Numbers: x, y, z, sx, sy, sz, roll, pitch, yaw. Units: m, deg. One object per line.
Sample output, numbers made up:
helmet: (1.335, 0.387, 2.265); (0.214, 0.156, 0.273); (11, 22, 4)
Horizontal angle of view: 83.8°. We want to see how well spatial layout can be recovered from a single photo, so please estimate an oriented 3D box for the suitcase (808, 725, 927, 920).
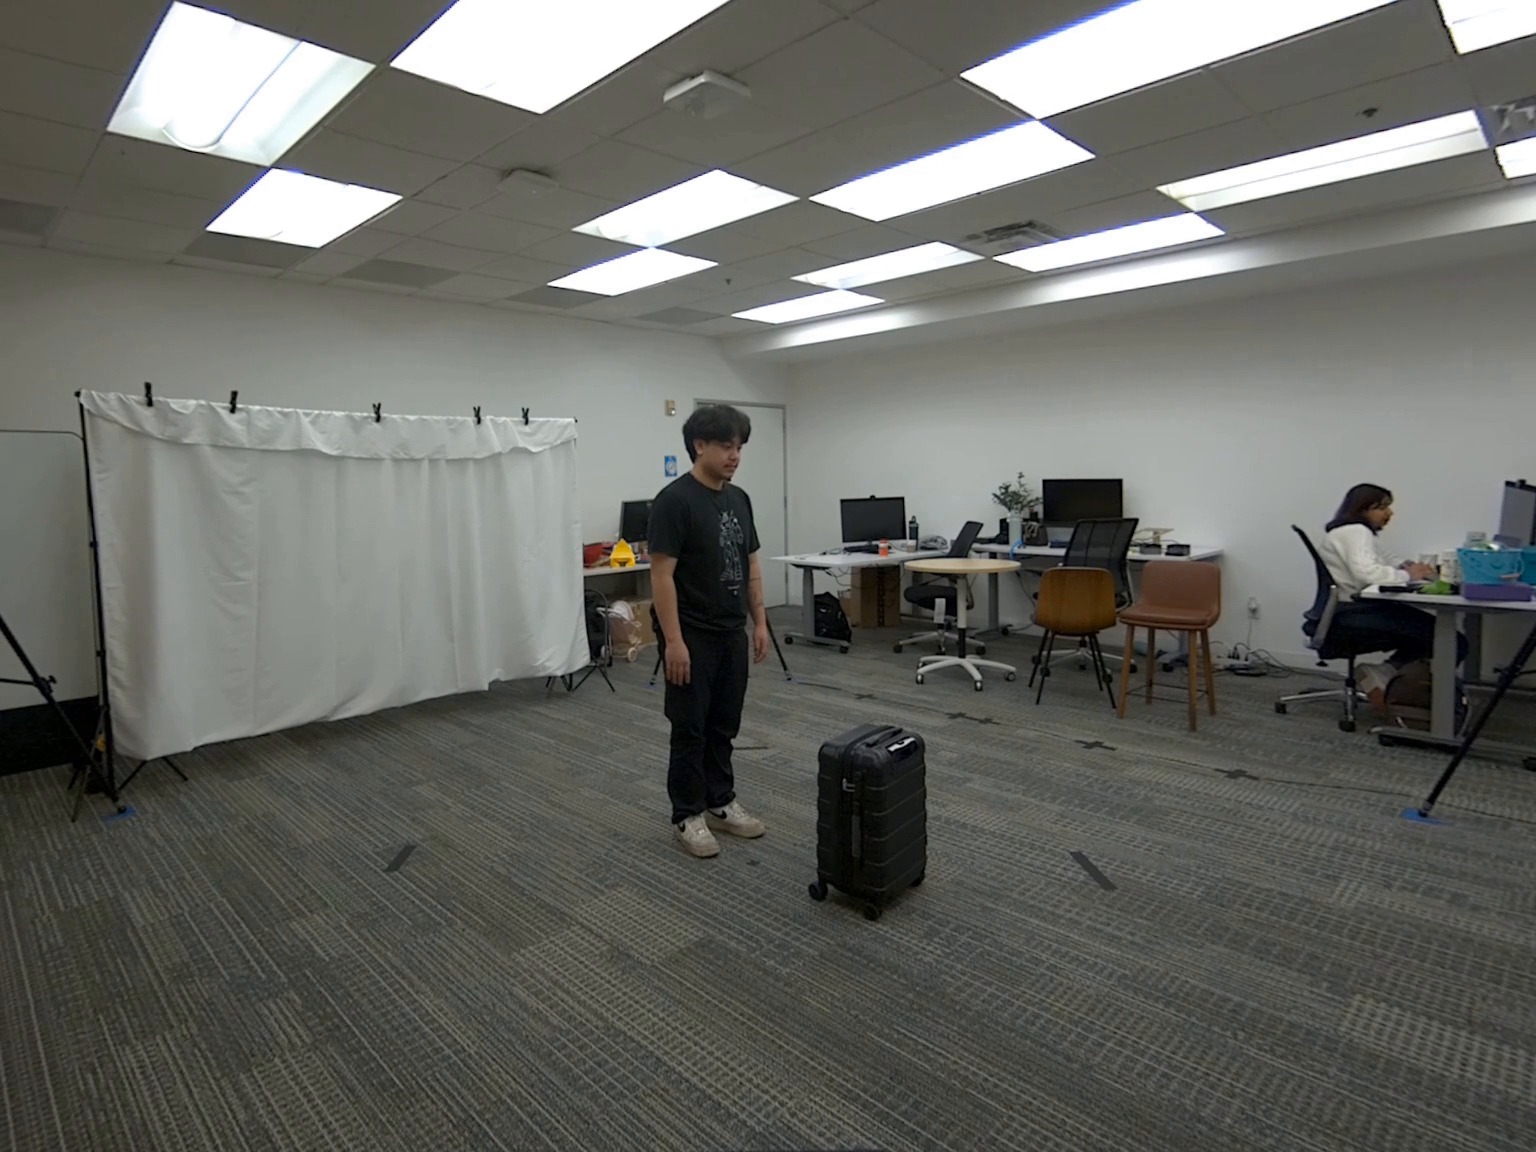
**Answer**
suitcase: (0.350, 0.788, 2.846); (0.256, 0.547, 0.366); (3, 6, 38)
